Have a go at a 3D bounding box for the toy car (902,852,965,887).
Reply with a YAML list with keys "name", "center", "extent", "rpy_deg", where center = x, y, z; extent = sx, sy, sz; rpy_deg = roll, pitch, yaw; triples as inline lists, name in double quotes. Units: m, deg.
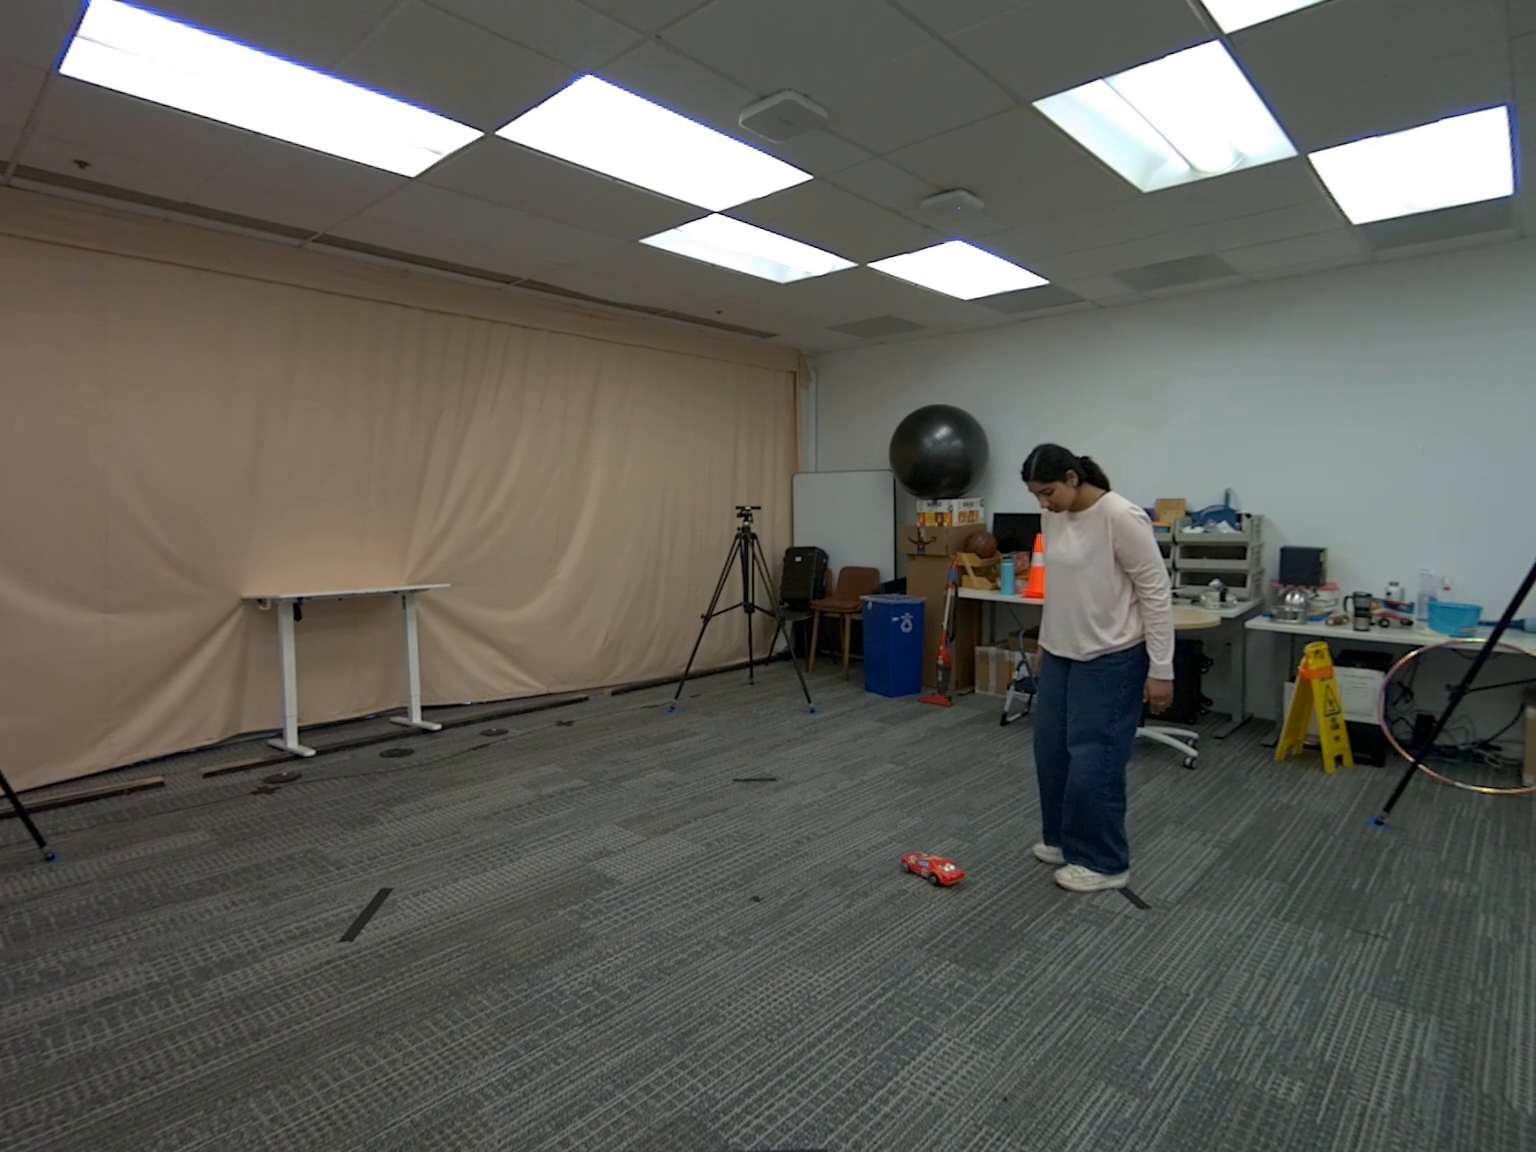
- name: "toy car"
  center: [0.627, 1.101, 3.153]
  extent: [0.126, 0.083, 0.261]
  rpy_deg: [-2, -7, -35]
